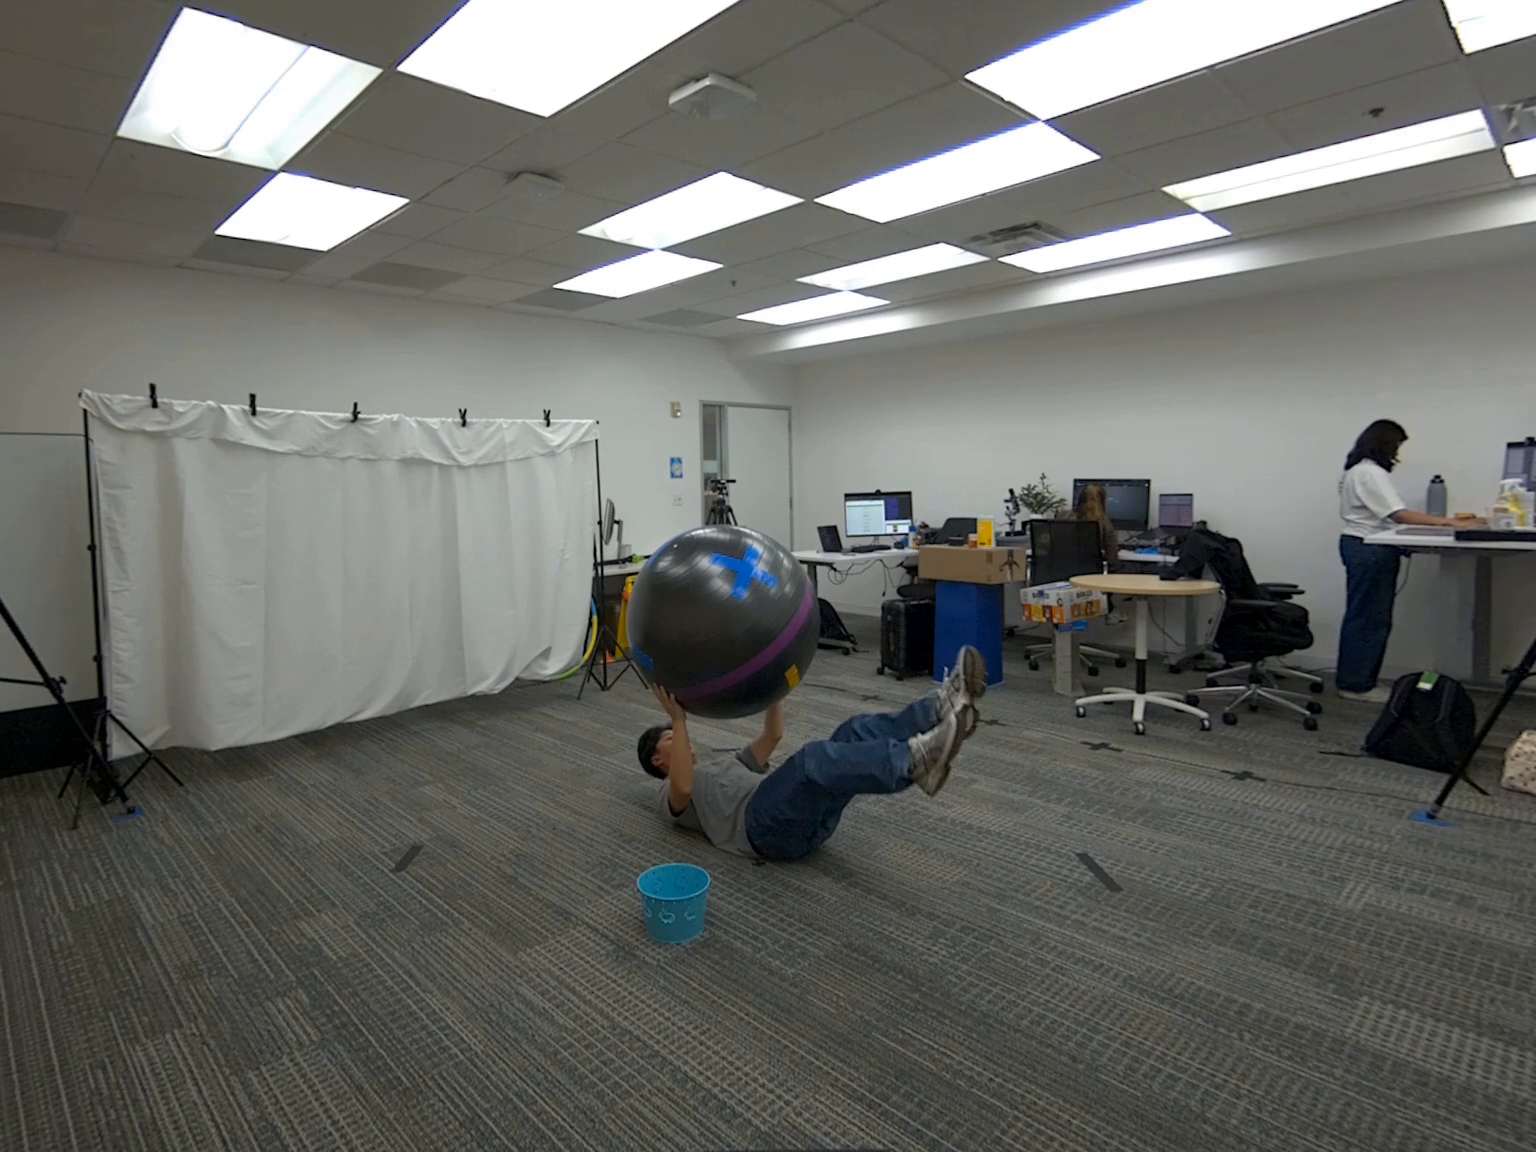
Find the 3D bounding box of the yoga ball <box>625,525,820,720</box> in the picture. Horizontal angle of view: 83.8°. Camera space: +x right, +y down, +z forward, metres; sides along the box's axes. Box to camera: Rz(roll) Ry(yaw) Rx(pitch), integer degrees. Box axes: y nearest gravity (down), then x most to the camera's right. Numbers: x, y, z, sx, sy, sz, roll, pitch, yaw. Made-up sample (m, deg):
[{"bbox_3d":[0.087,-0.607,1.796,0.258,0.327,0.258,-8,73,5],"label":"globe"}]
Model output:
[{"bbox_3d":[-0.182,0.183,3.357,0.757,0.755,0.762,-1,5,-2],"label":"yoga ball"}]
